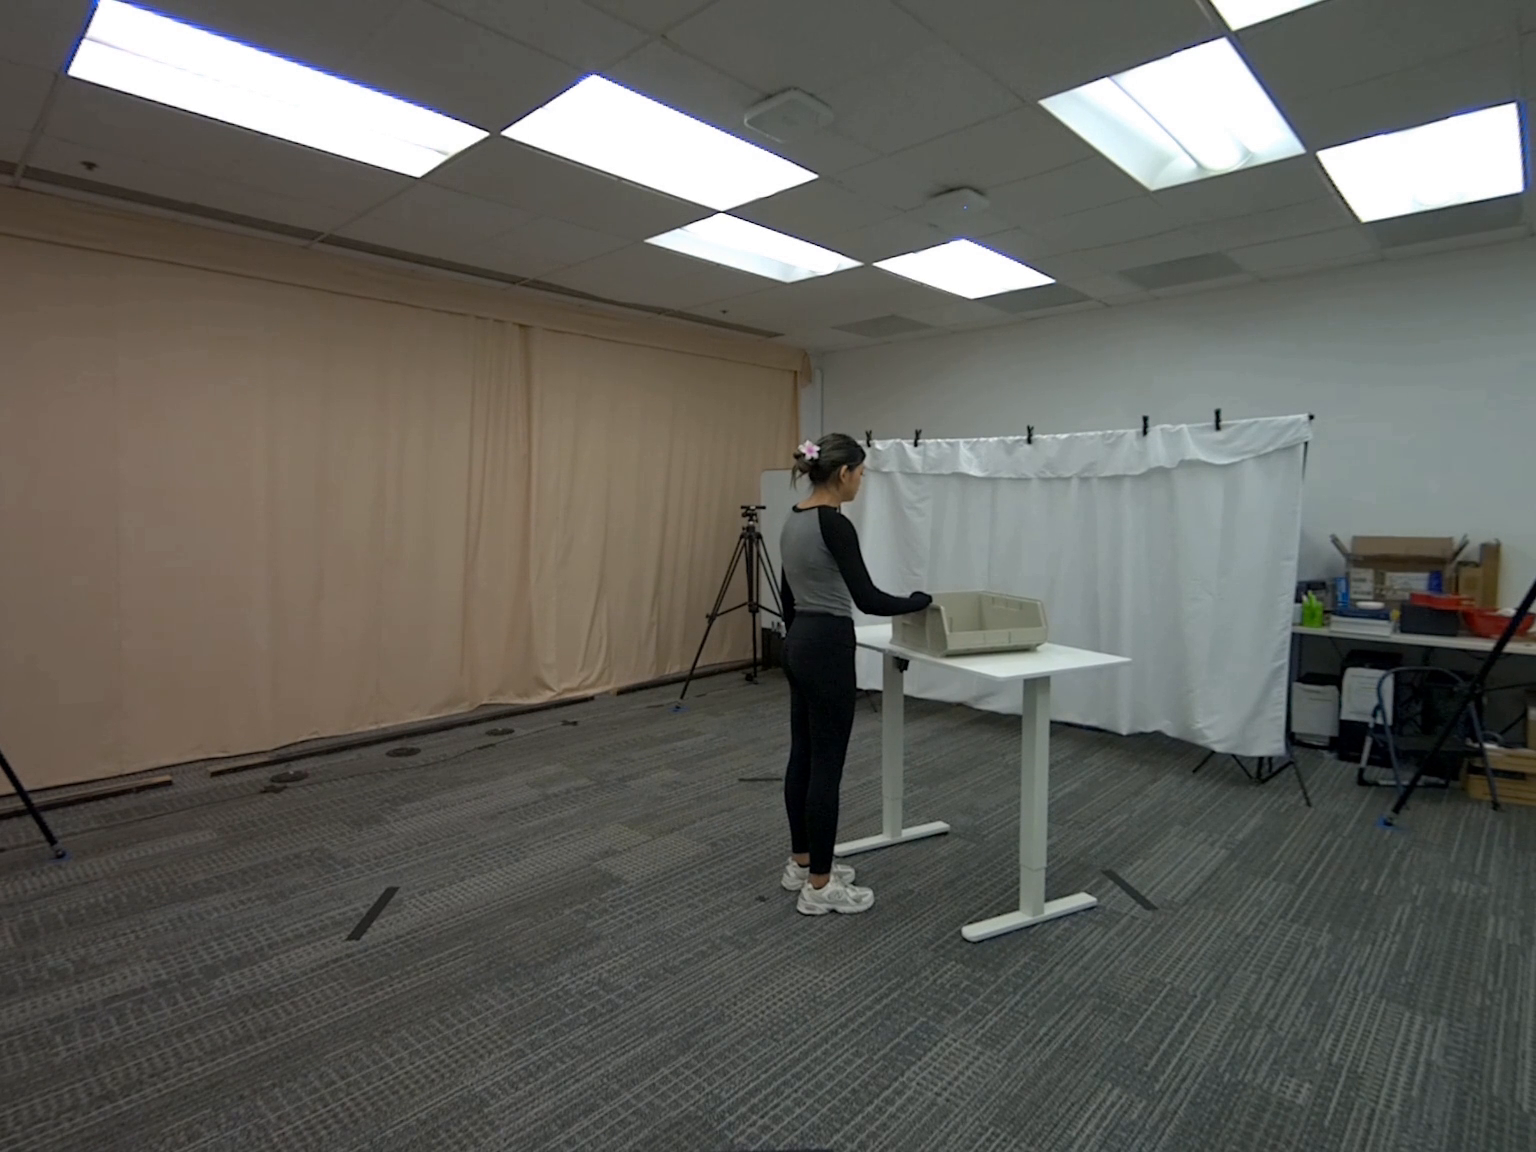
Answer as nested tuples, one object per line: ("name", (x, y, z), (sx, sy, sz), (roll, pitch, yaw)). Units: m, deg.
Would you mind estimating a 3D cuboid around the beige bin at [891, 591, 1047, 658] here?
("beige bin", (0.712, 0.169, 3.002), (0.414, 0.189, 0.385), (-2, 3, -20))
